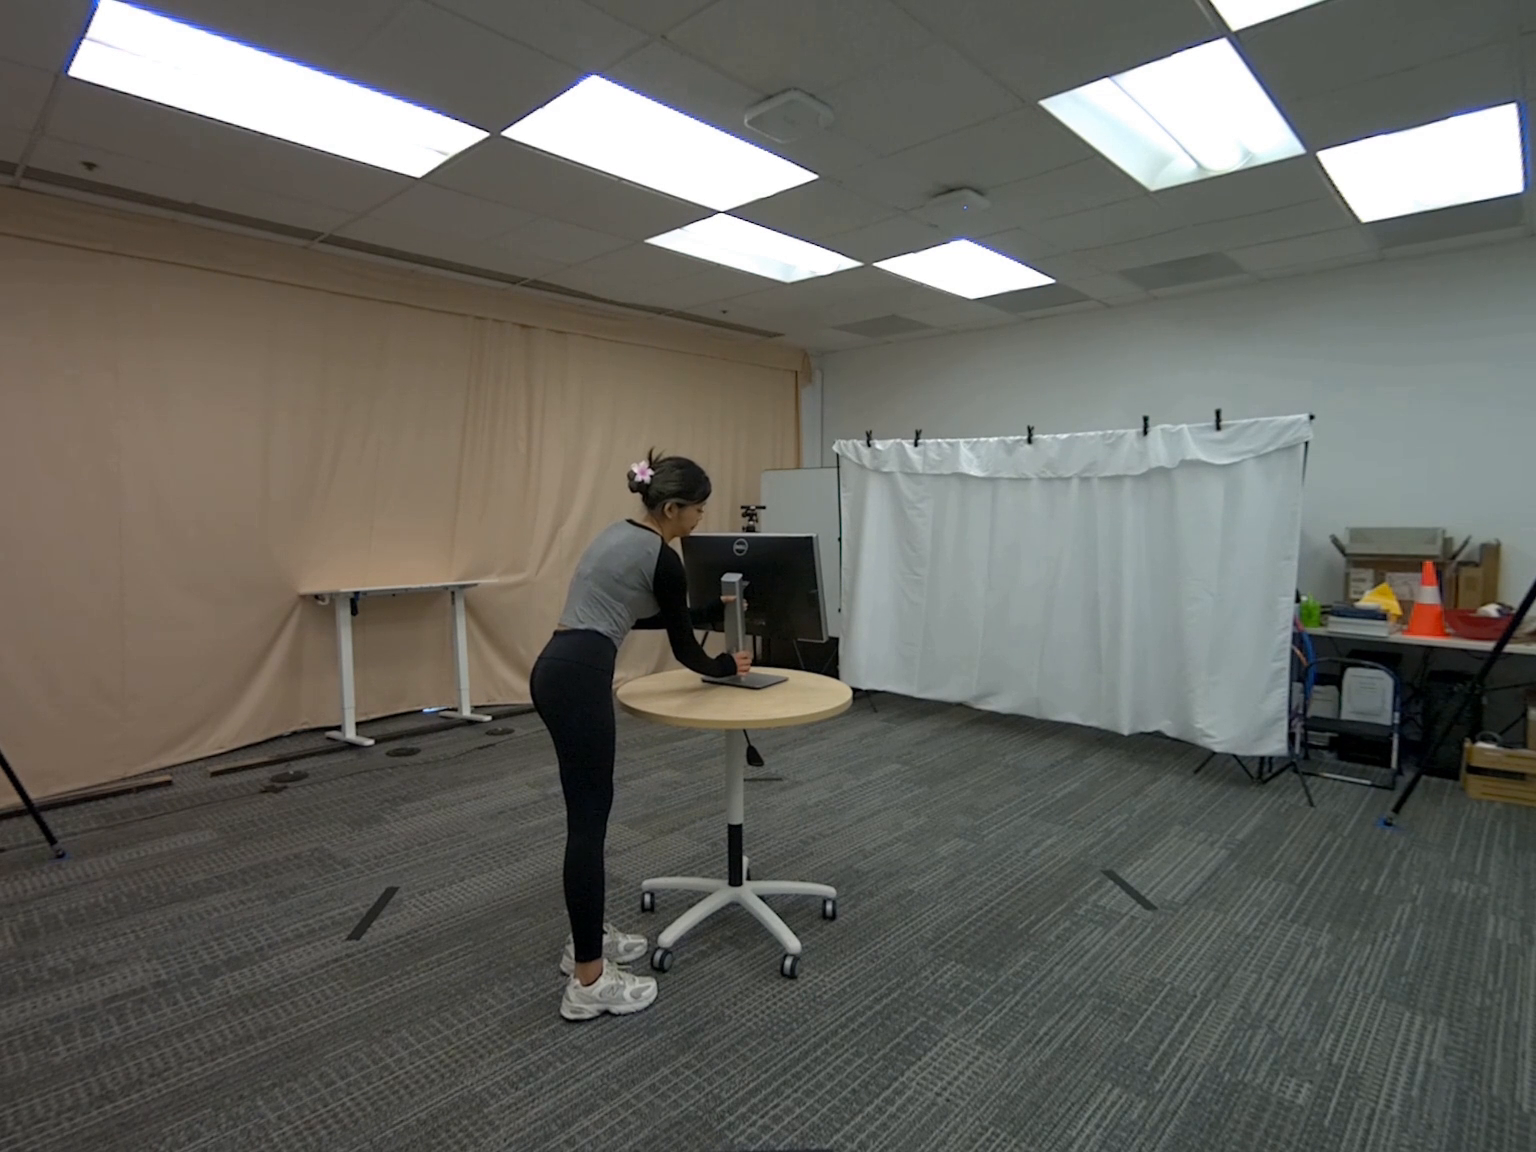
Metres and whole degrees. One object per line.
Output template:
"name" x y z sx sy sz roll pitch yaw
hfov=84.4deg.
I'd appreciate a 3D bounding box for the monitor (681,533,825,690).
"monitor" -0.080 0.118 2.871 0.556 0.522 0.181 2 0 35
